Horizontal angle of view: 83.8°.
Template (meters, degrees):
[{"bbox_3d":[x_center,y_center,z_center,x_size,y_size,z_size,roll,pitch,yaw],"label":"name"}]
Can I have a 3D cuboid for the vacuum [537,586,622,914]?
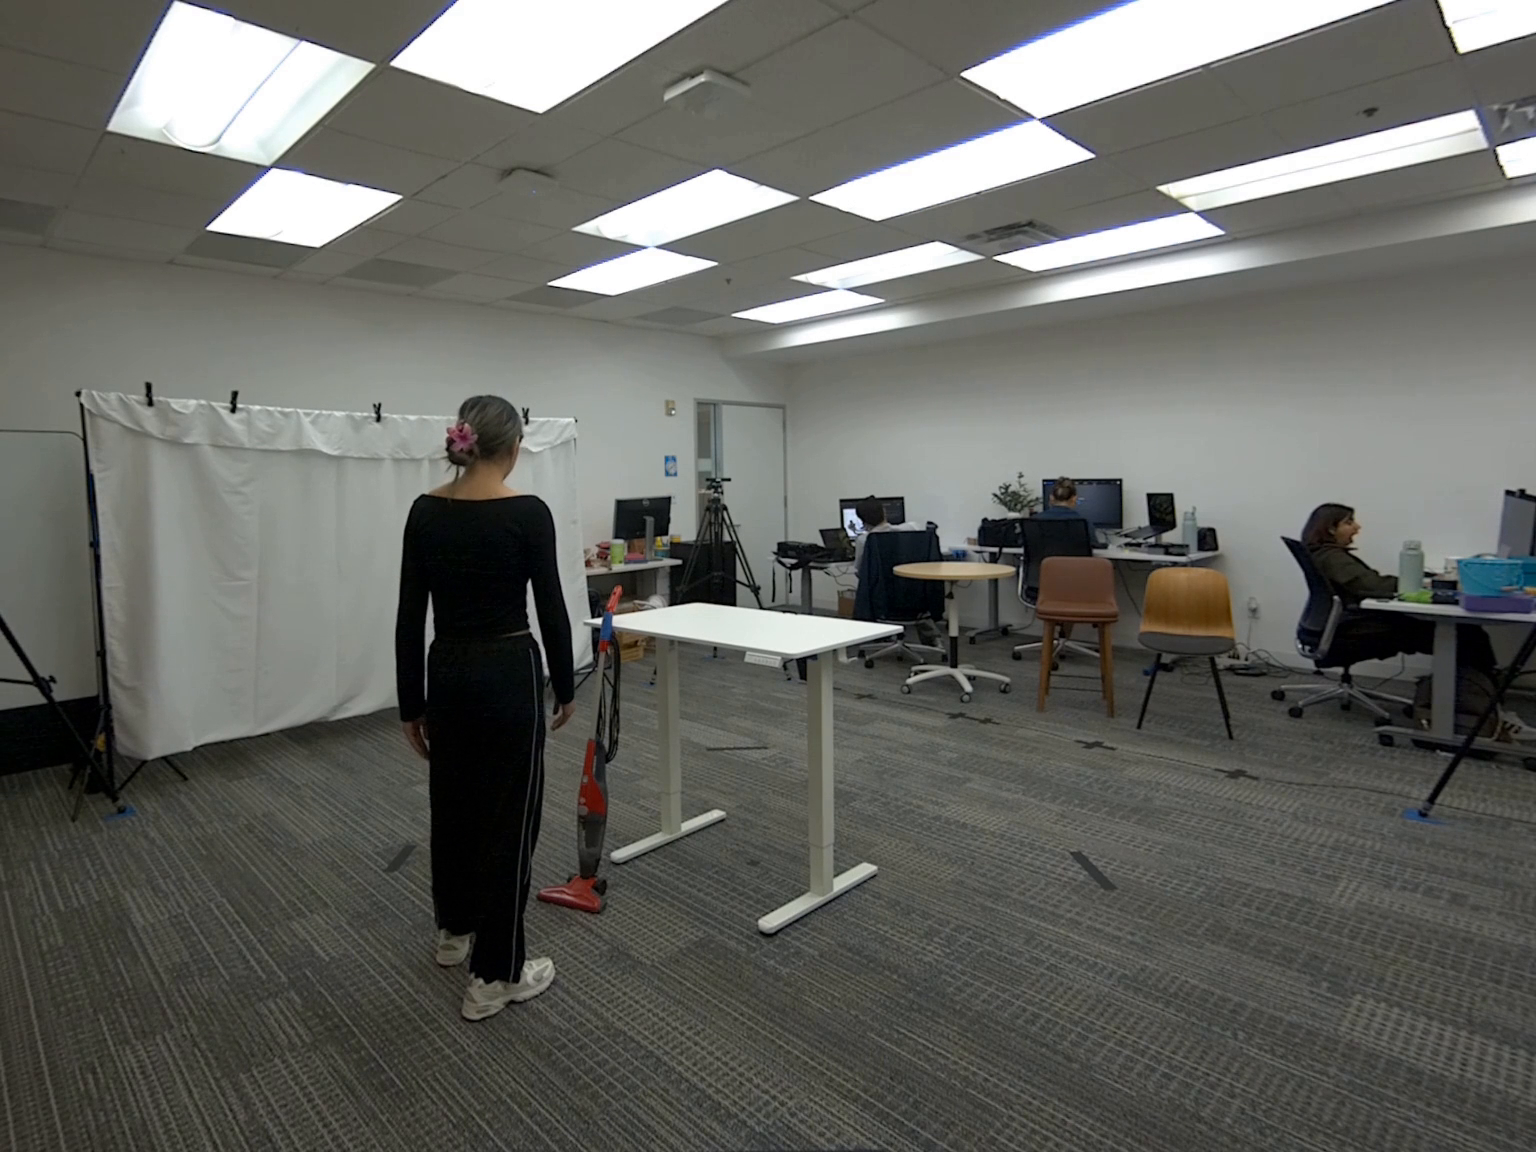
[{"bbox_3d":[-0.586,0.572,2.977,0.259,1.059,0.139,0,-13,28],"label":"vacuum"}]
